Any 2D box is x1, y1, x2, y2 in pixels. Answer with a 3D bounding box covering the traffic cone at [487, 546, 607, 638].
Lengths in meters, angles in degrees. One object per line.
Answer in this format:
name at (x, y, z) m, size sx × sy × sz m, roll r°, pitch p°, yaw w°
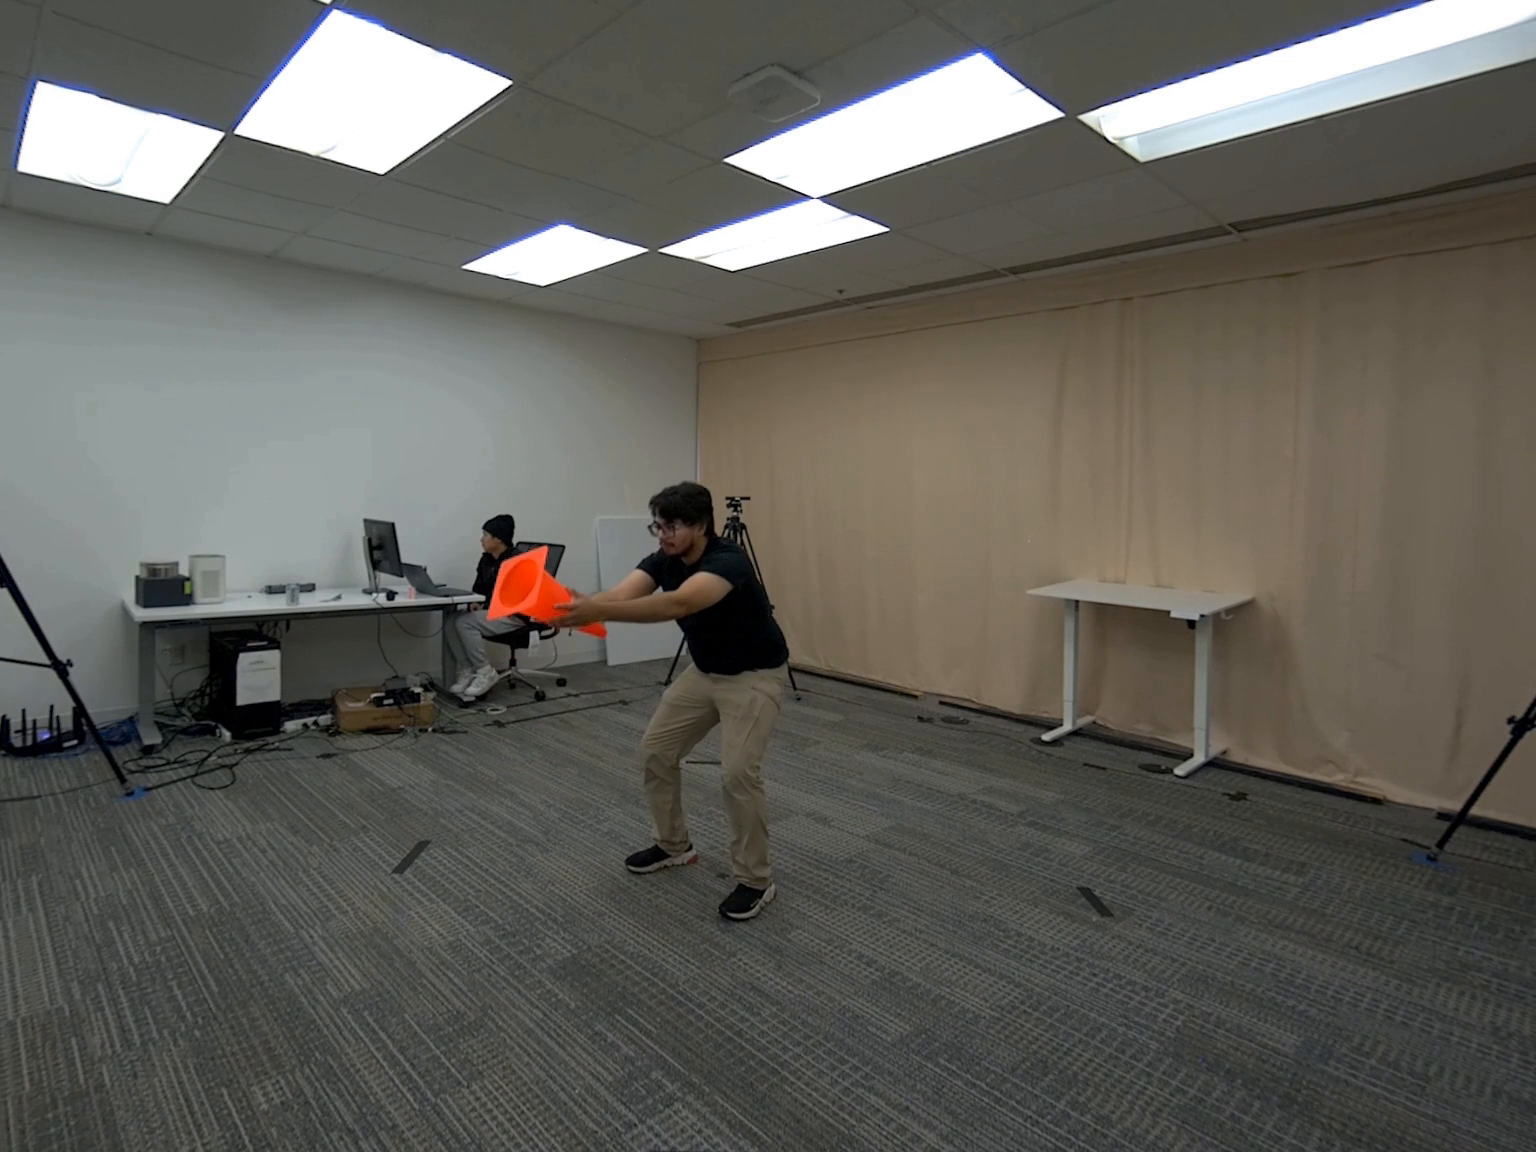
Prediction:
traffic cone at (-0.624, 0.104, 2.536) m, size 0.208 × 0.207 × 0.371 m, roll -18°, pitch -35°, yaw 30°
